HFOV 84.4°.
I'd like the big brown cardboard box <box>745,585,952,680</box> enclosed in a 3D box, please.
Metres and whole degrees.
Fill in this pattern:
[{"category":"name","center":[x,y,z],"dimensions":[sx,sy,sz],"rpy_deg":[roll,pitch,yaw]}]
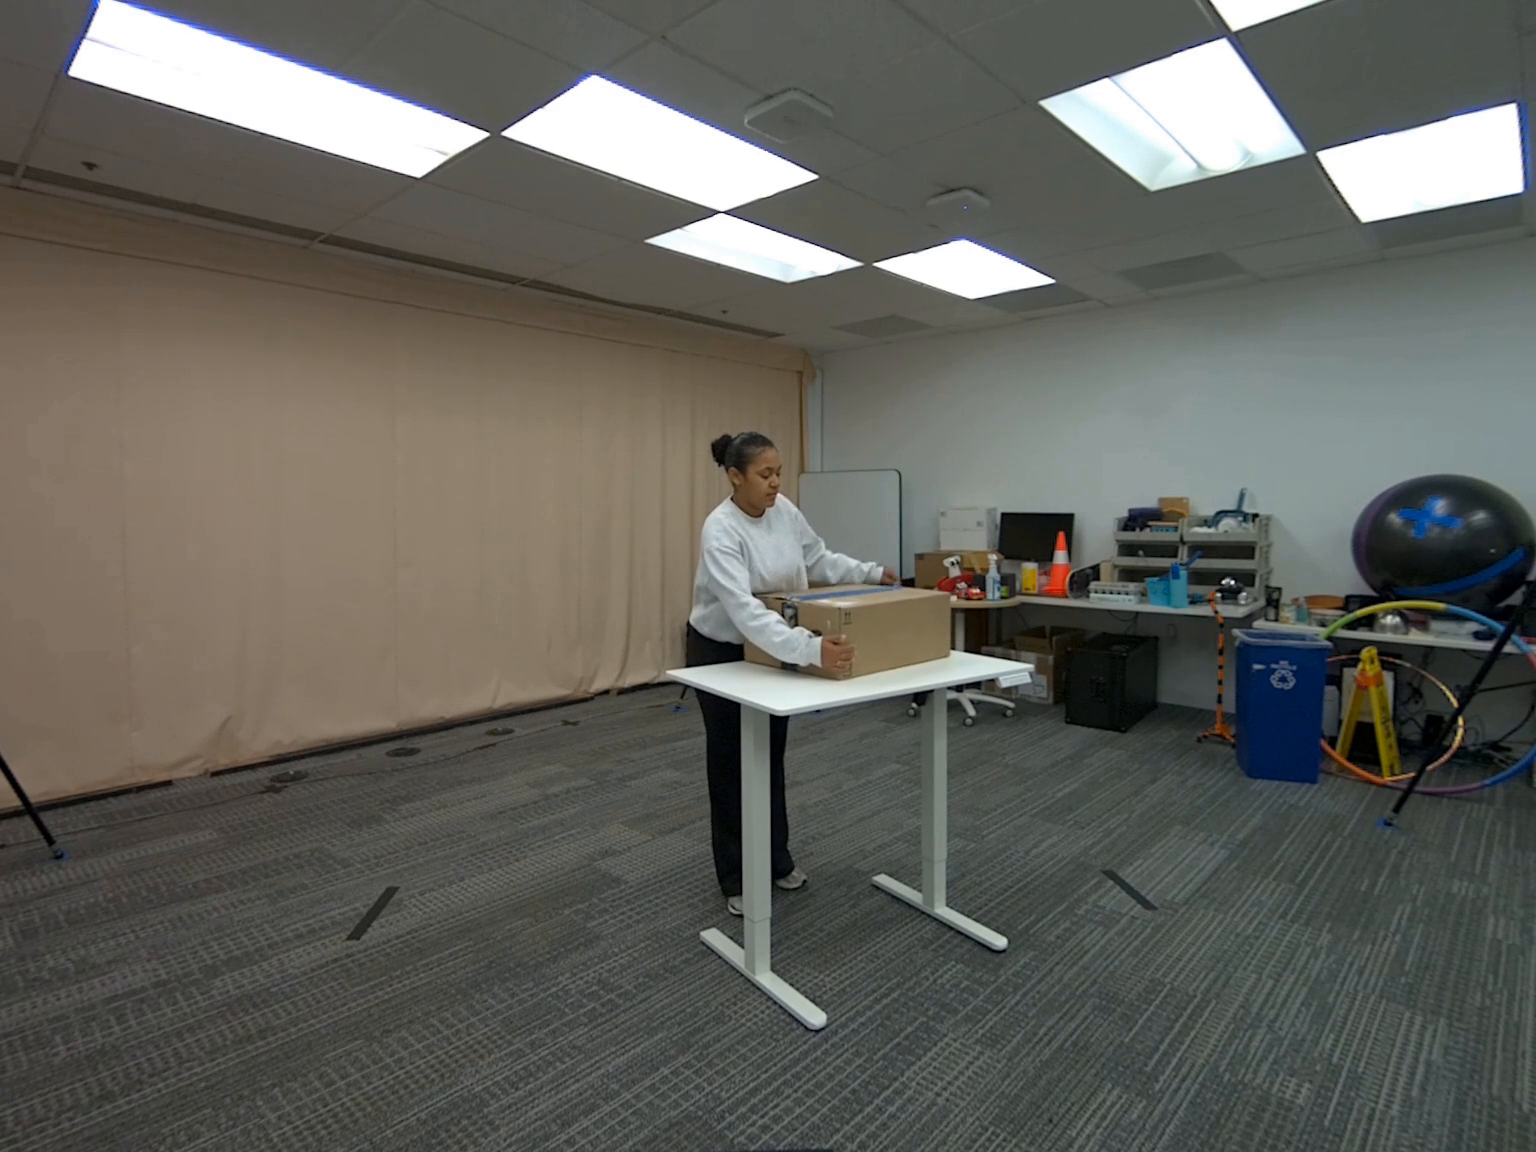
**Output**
[{"category":"big brown cardboard box","center":[0.268,0.169,2.771],"dimensions":[0.571,0.233,0.431],"rpy_deg":[-3,5,-43]}]
